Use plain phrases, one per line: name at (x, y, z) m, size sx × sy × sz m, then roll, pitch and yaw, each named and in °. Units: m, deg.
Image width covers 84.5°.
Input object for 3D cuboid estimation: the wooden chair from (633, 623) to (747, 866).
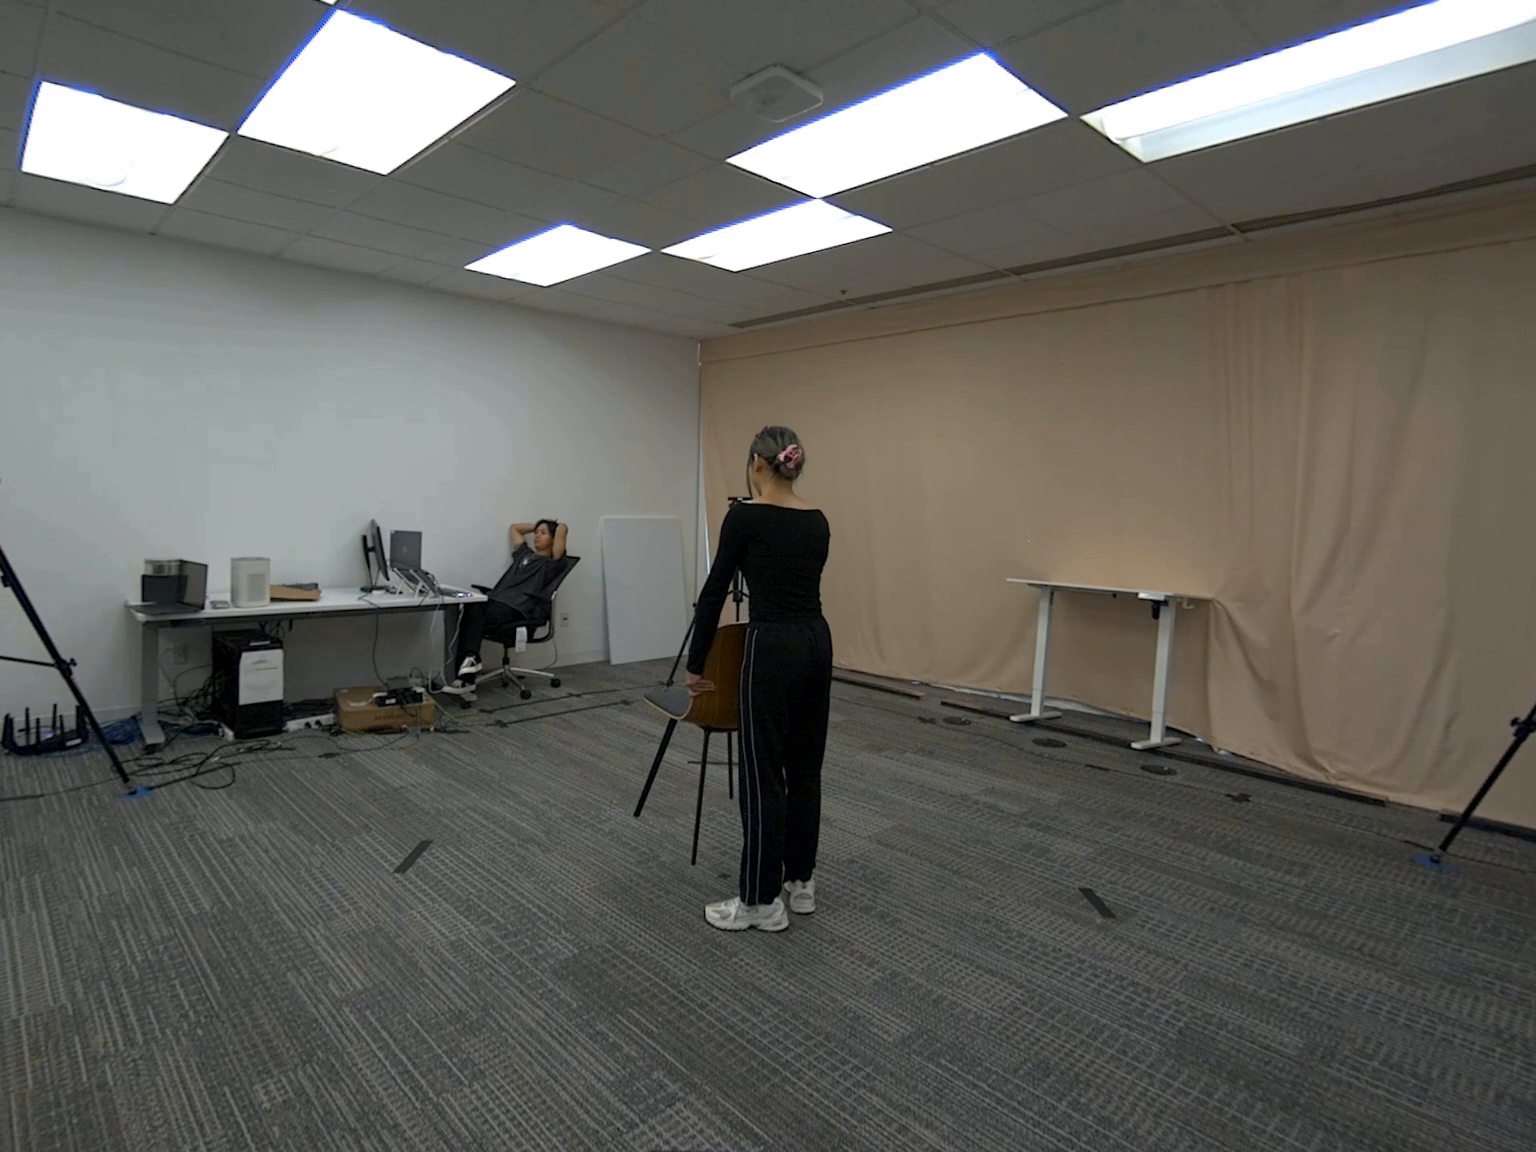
wooden chair at (-0.193, 0.531, 3.137) m, size 0.468 × 0.872 × 0.538 m, roll -1°, pitch 11°, yaw -33°
